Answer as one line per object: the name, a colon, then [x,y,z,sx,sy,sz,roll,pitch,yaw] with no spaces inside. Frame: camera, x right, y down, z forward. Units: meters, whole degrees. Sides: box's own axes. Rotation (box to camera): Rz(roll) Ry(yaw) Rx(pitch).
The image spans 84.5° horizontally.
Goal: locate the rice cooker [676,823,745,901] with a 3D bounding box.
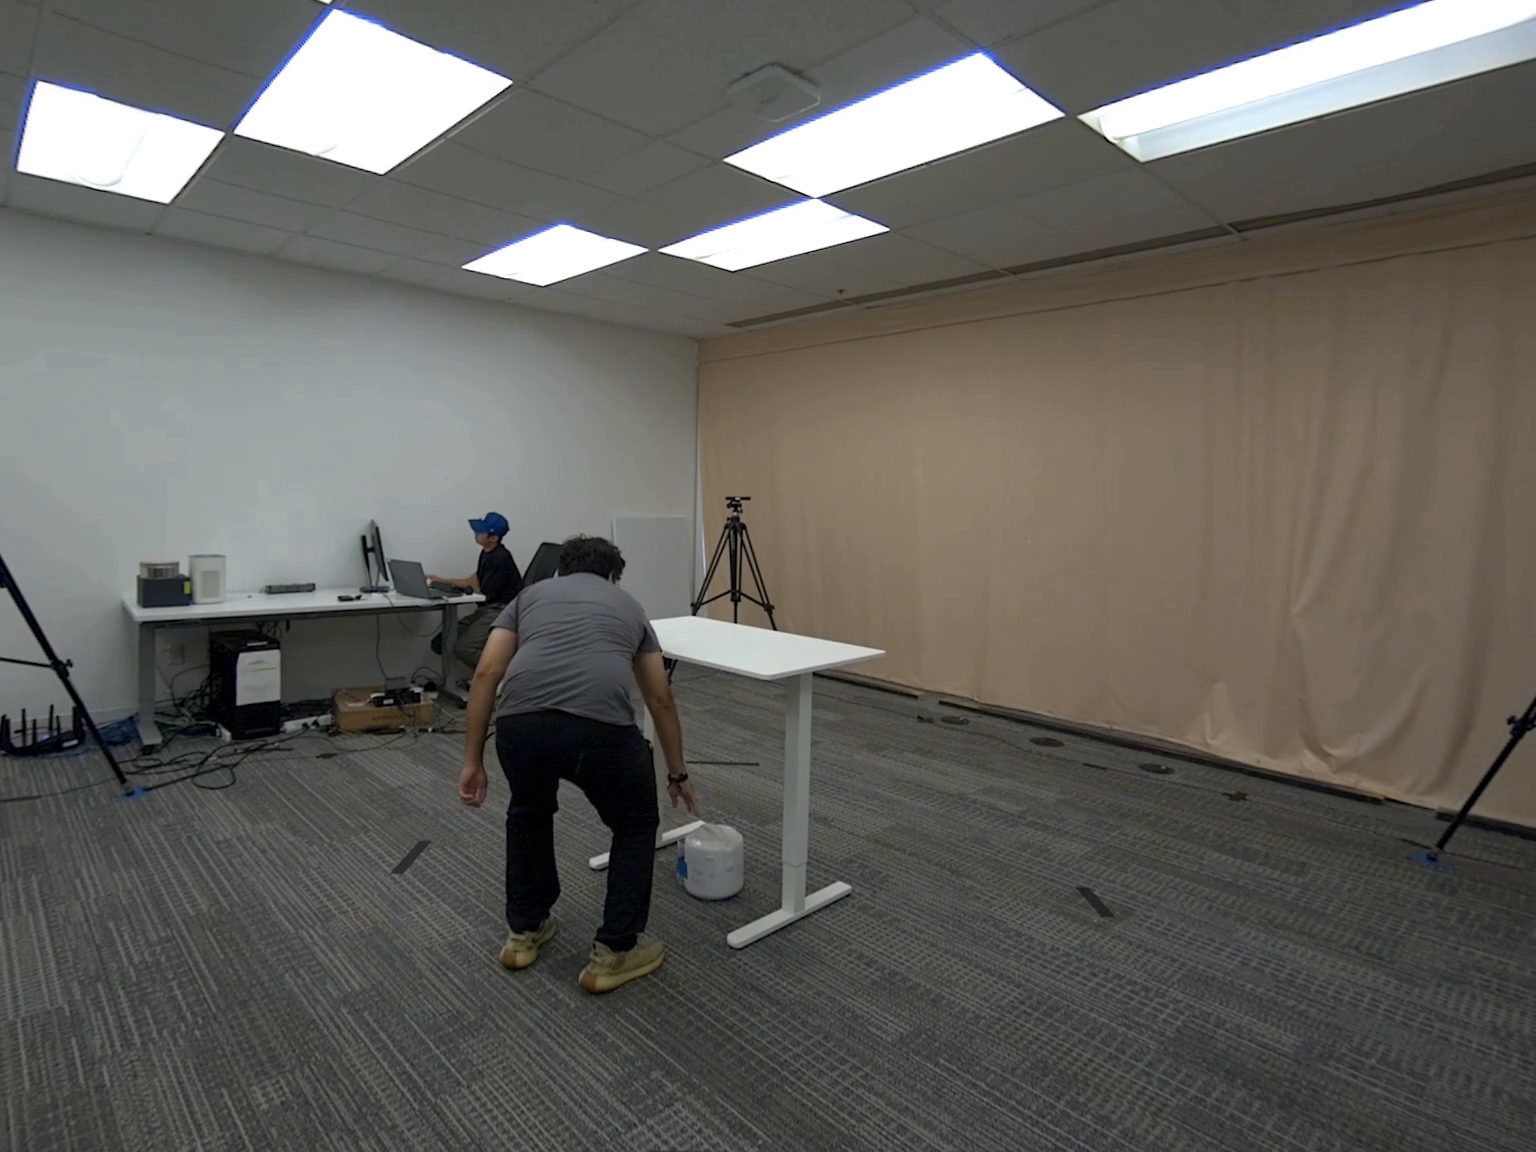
rice cooker: [-0.197,1.003,2.984,0.213,0.232,0.226,-4,6,-33]
